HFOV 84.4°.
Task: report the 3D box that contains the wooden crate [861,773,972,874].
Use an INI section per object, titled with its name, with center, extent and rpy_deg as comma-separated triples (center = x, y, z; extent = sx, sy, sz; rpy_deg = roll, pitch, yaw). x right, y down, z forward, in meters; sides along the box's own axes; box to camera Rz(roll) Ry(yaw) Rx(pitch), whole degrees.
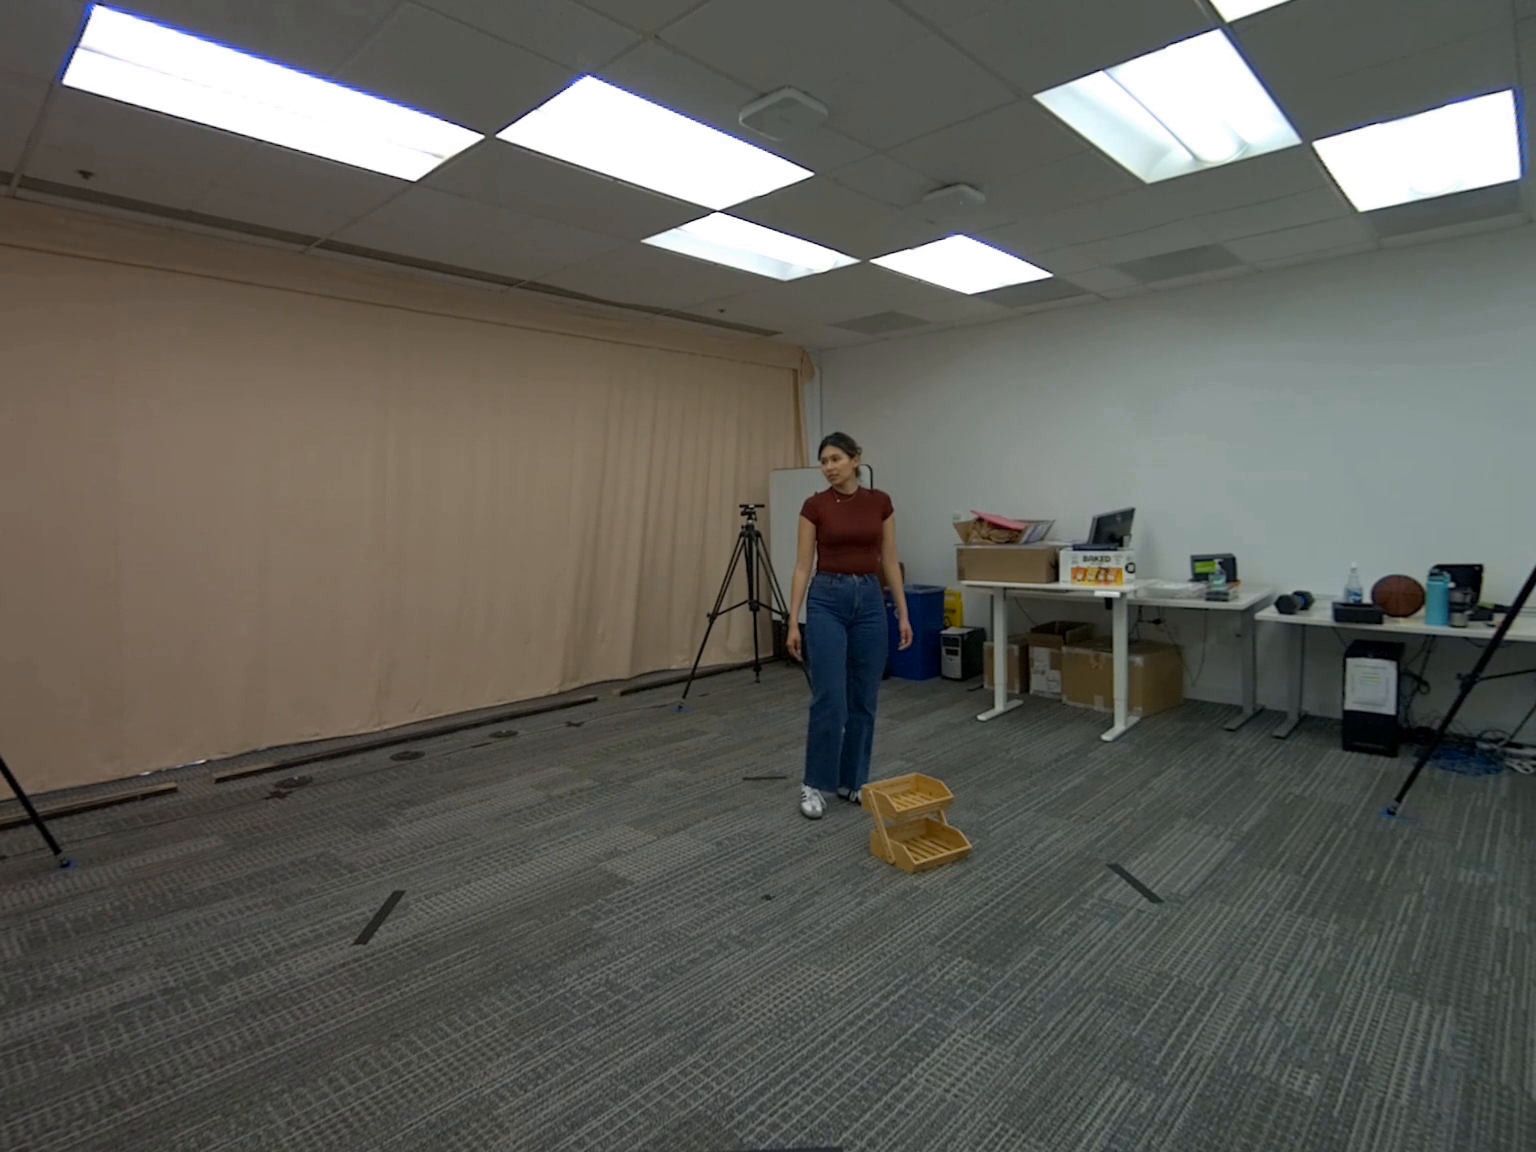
[wooden crate]
center = 0.590, 0.966, 3.326
extent = 0.315, 0.272, 0.311
rpy_deg = -4, 5, -32
